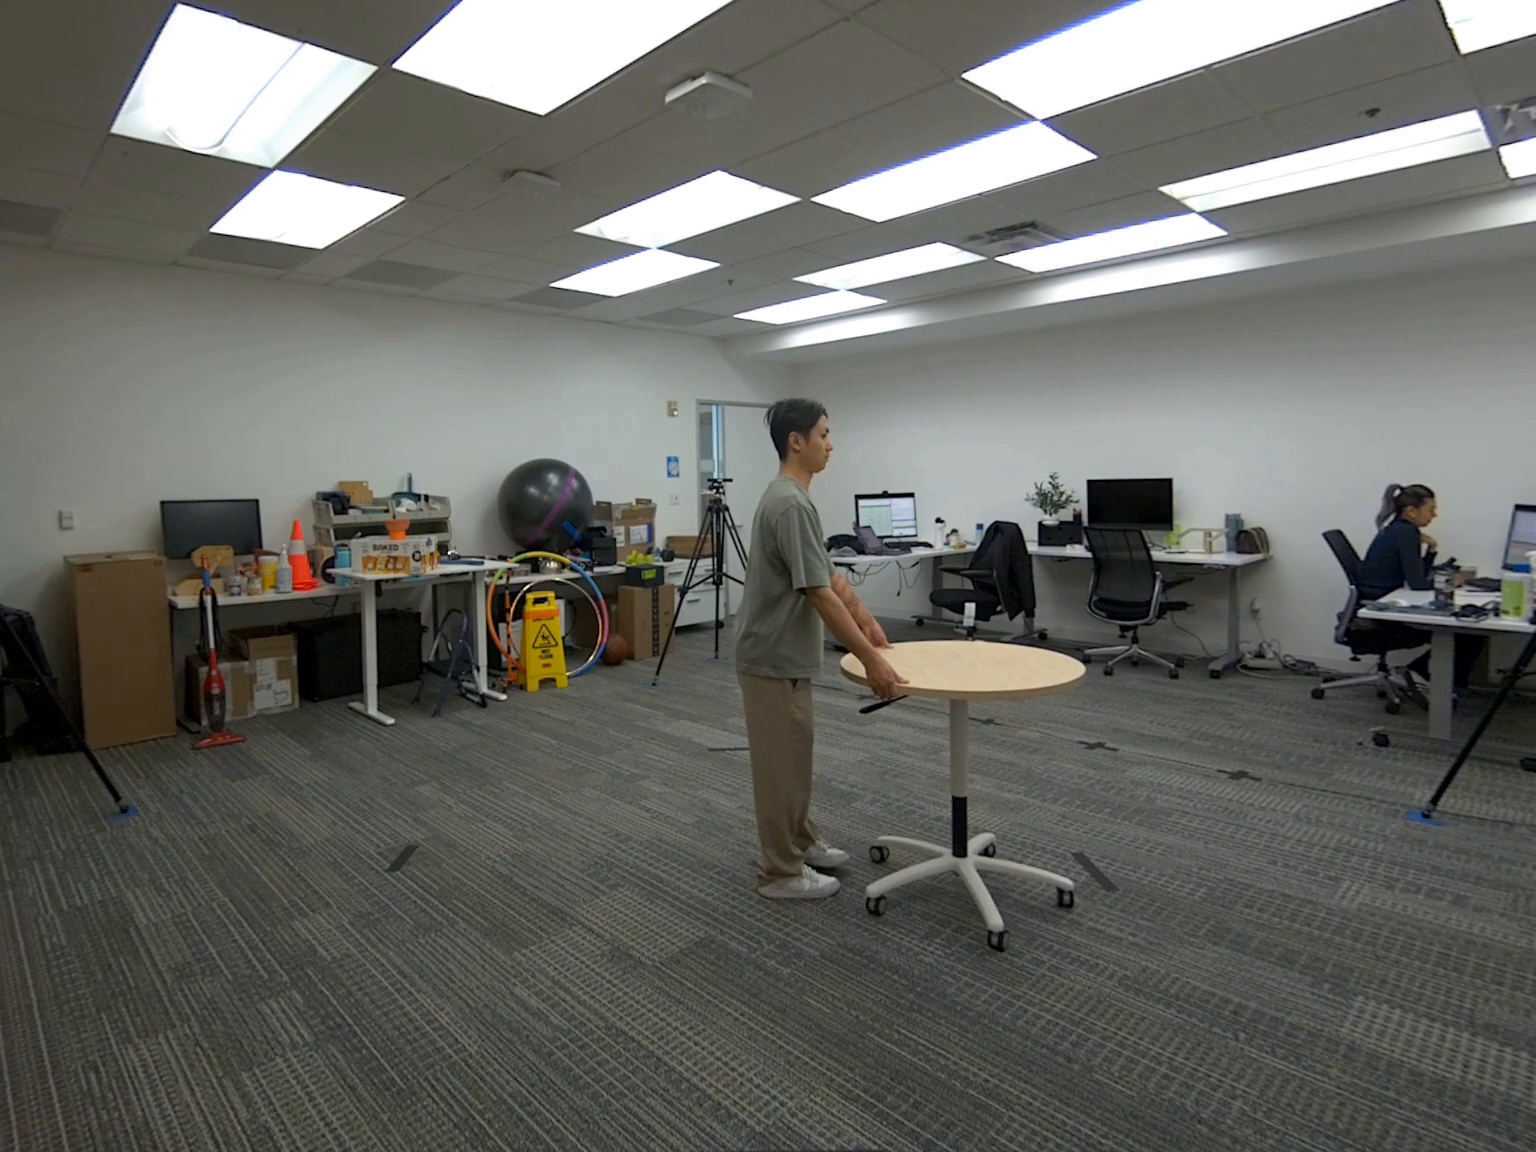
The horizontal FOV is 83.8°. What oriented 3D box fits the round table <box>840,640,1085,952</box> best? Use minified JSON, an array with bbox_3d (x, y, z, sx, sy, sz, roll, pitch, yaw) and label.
[{"bbox_3d":[0.640,0.669,2.812,0.784,0.784,0.789,-2,5,-2],"label":"round table"}]
